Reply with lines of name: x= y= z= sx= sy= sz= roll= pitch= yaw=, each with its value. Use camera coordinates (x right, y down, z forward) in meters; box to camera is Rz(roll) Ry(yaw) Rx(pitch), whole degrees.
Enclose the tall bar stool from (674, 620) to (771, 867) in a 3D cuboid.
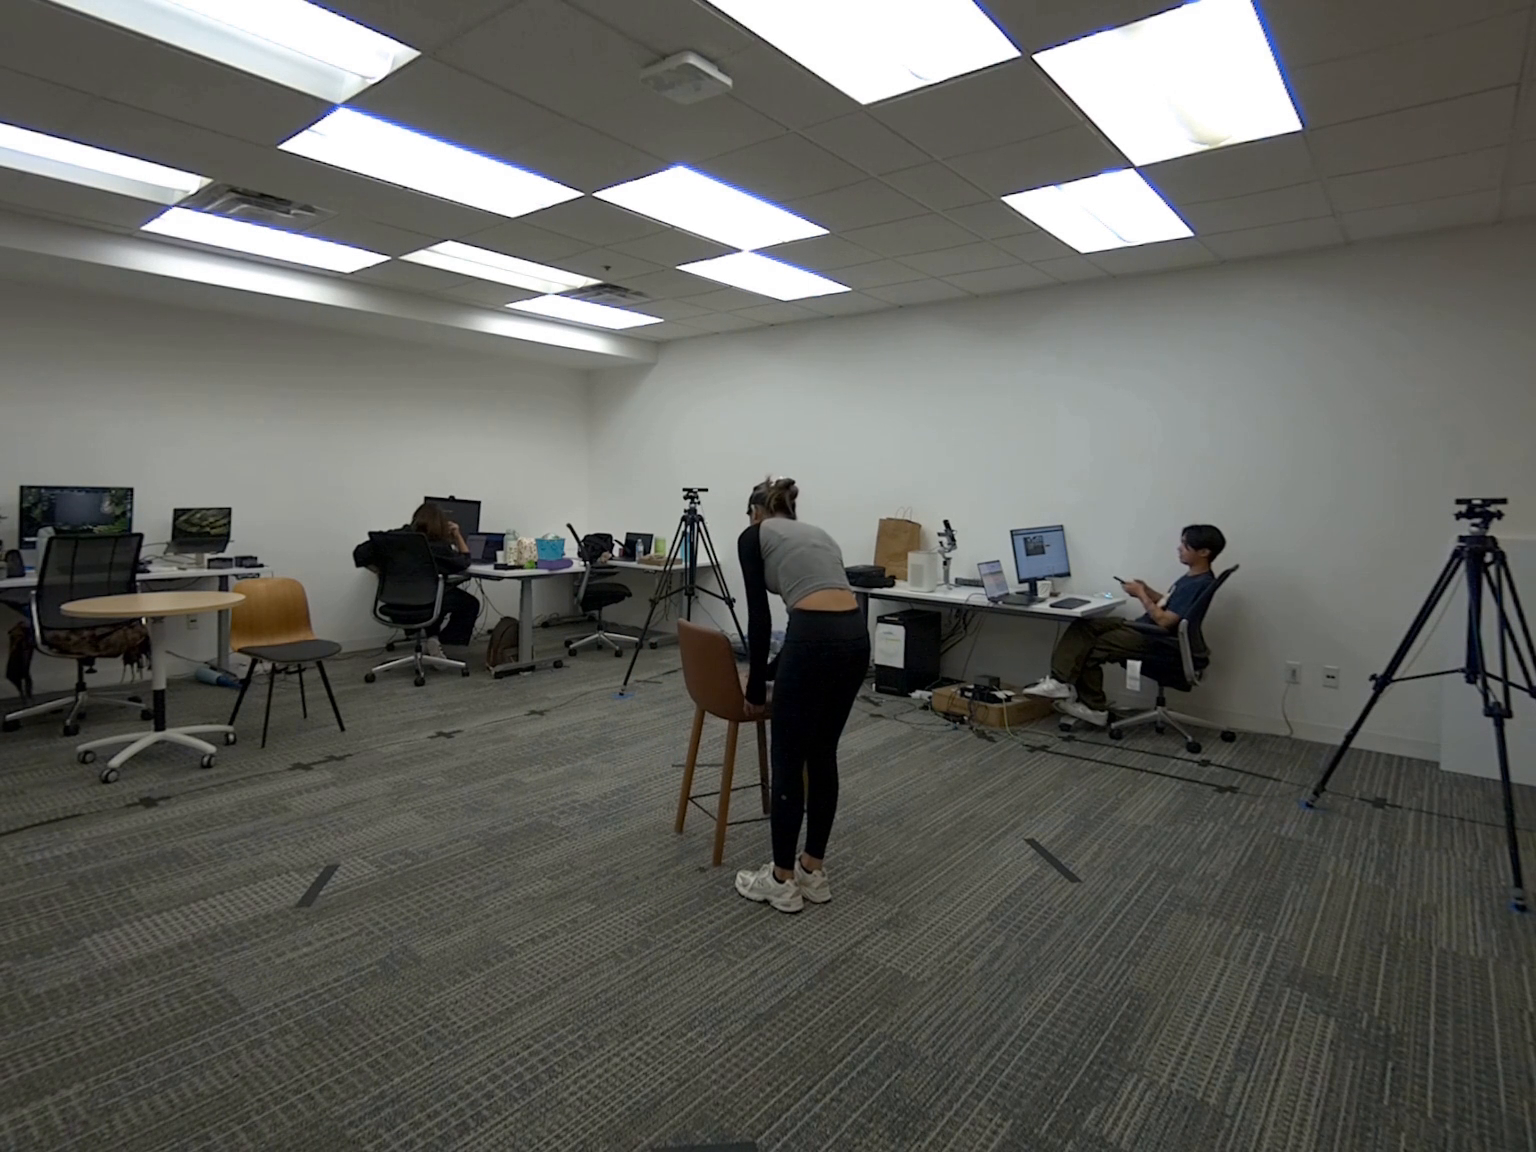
tall bar stool: x=-0.100 y=0.609 z=3.371 sx=0.456 sy=0.887 sz=0.470 roll=-2 pitch=4 yaw=-29
